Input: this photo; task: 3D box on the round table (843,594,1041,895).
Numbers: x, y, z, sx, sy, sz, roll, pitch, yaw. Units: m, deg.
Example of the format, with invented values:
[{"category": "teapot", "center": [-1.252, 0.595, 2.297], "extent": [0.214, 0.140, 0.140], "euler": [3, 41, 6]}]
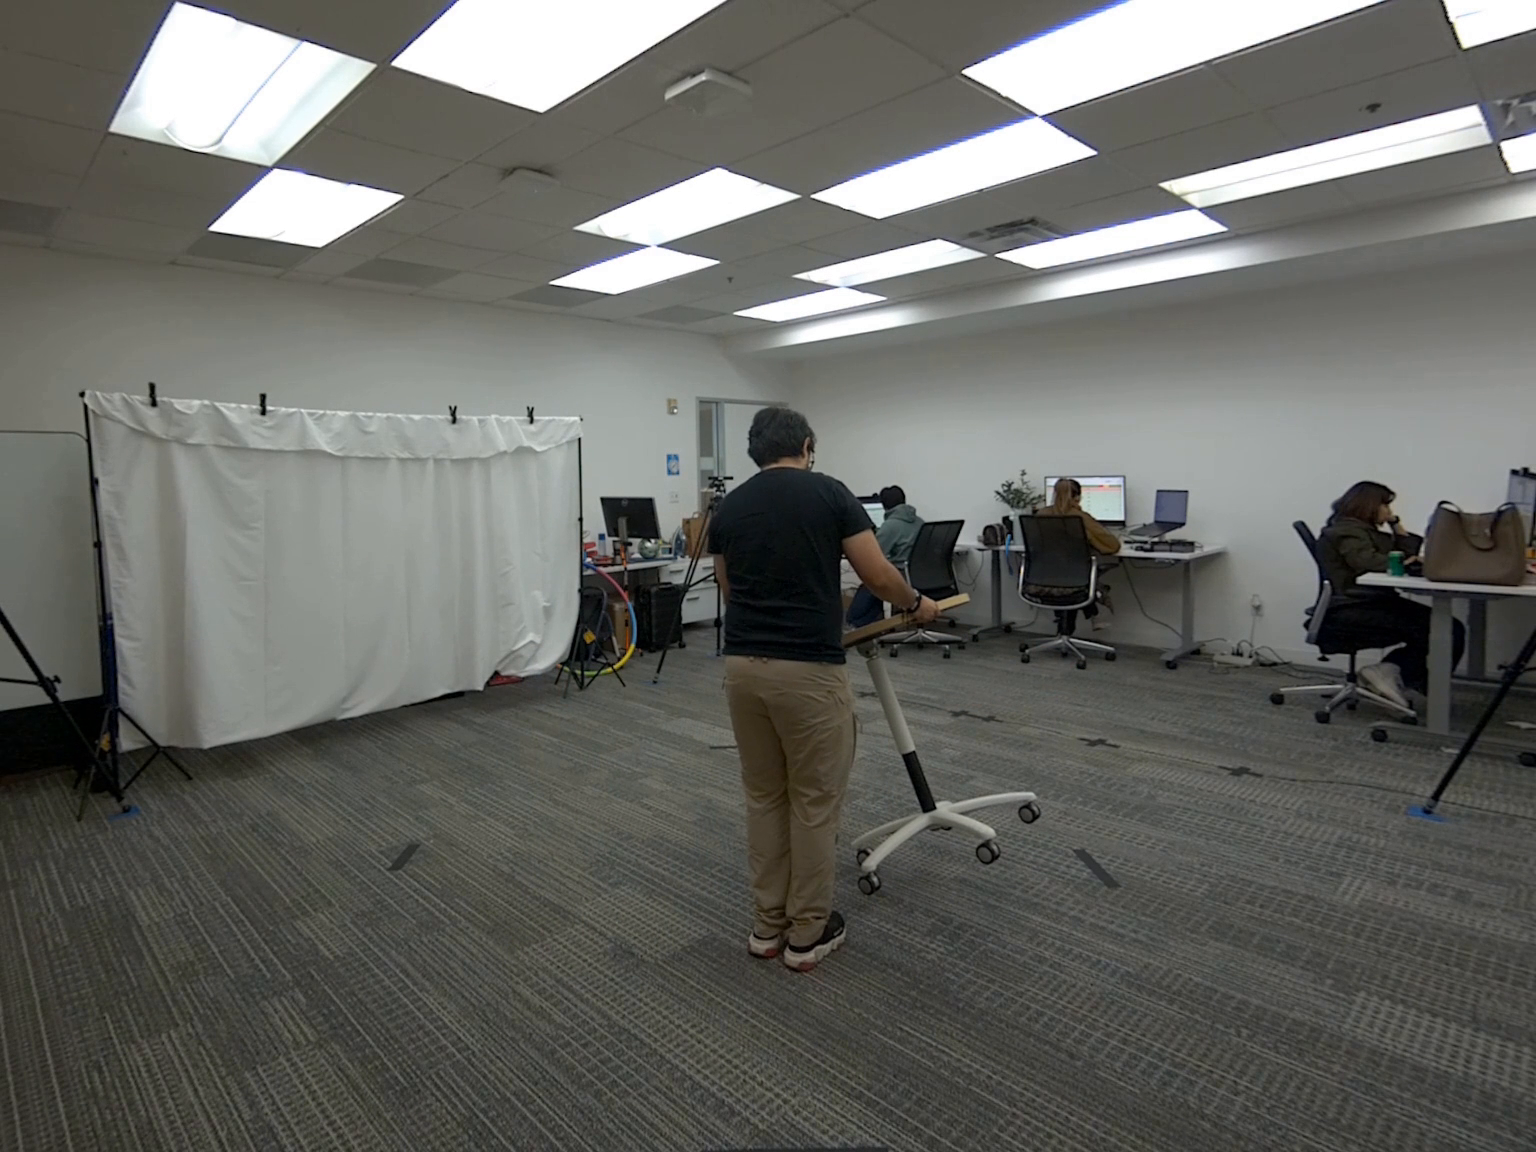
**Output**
[{"category": "round table", "center": [0.485, 0.559, 2.940], "extent": [0.783, 0.796, 0.778], "euler": [-19, -9, -5]}]
